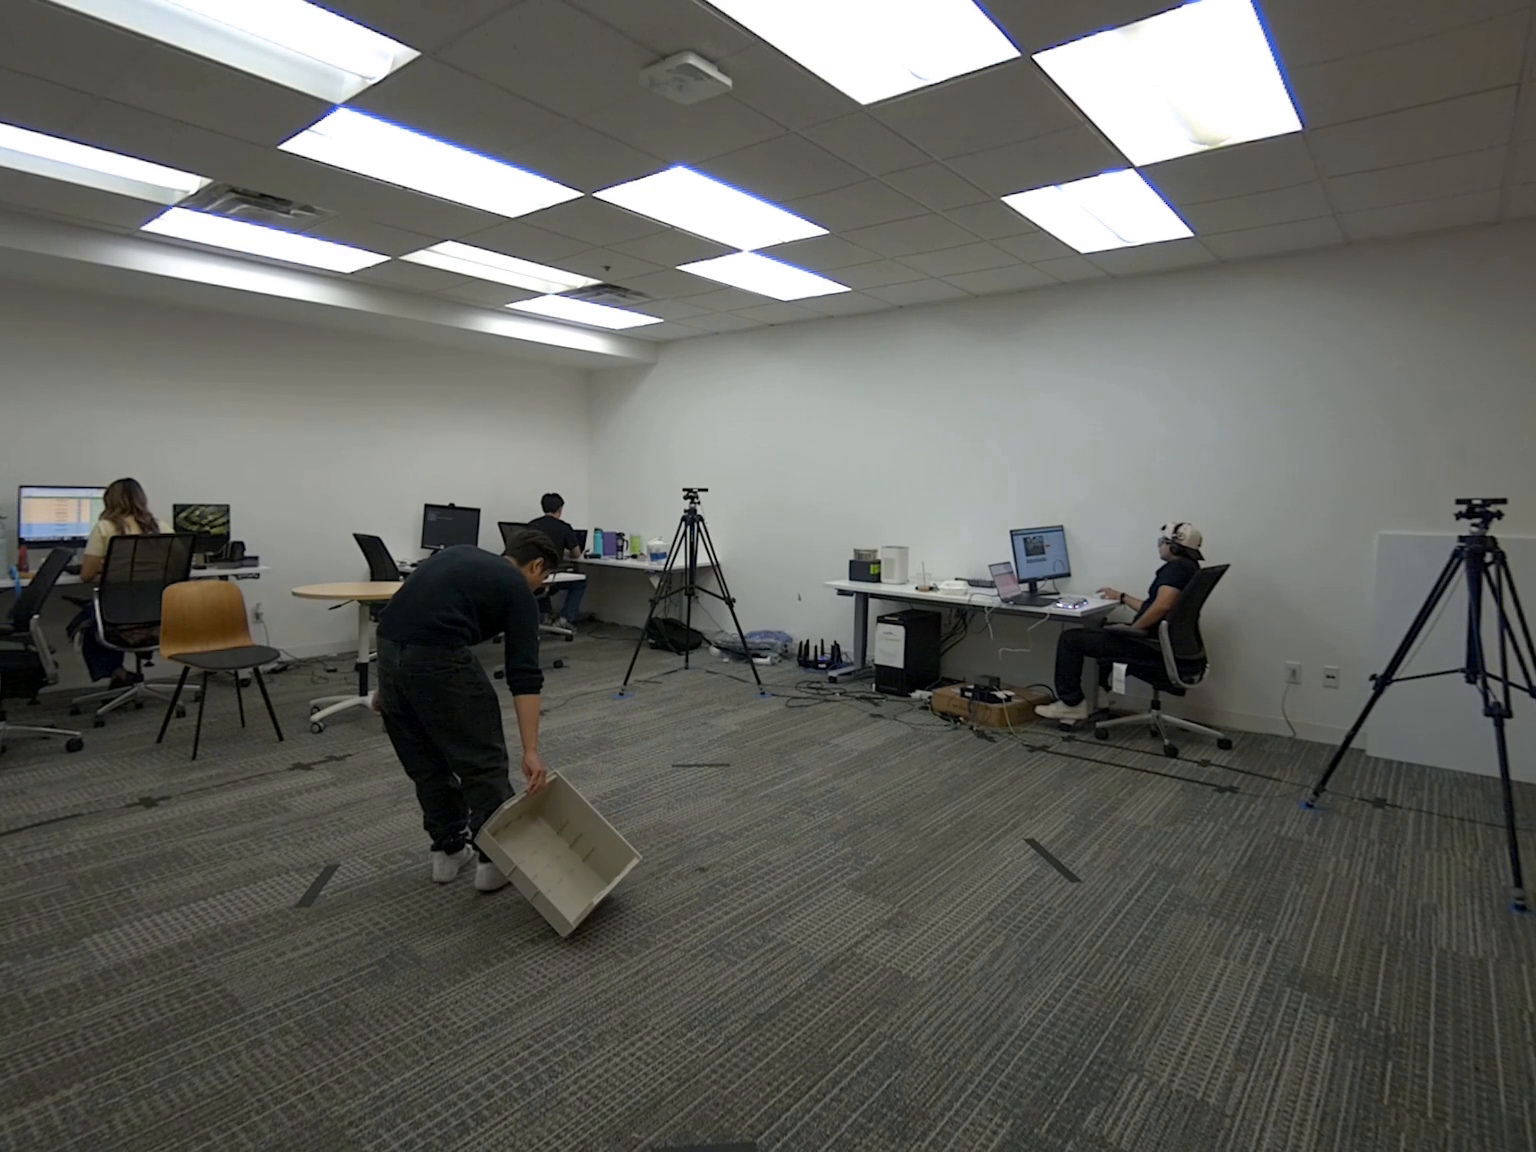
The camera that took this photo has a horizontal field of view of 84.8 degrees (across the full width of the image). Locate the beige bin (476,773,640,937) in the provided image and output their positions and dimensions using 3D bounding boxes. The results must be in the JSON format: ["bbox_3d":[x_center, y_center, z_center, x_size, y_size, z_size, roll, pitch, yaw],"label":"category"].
[{"bbox_3d":[-0.687,0.897,2.757,0.430,0.188,0.372,40,13,11],"label":"beige bin"}]
